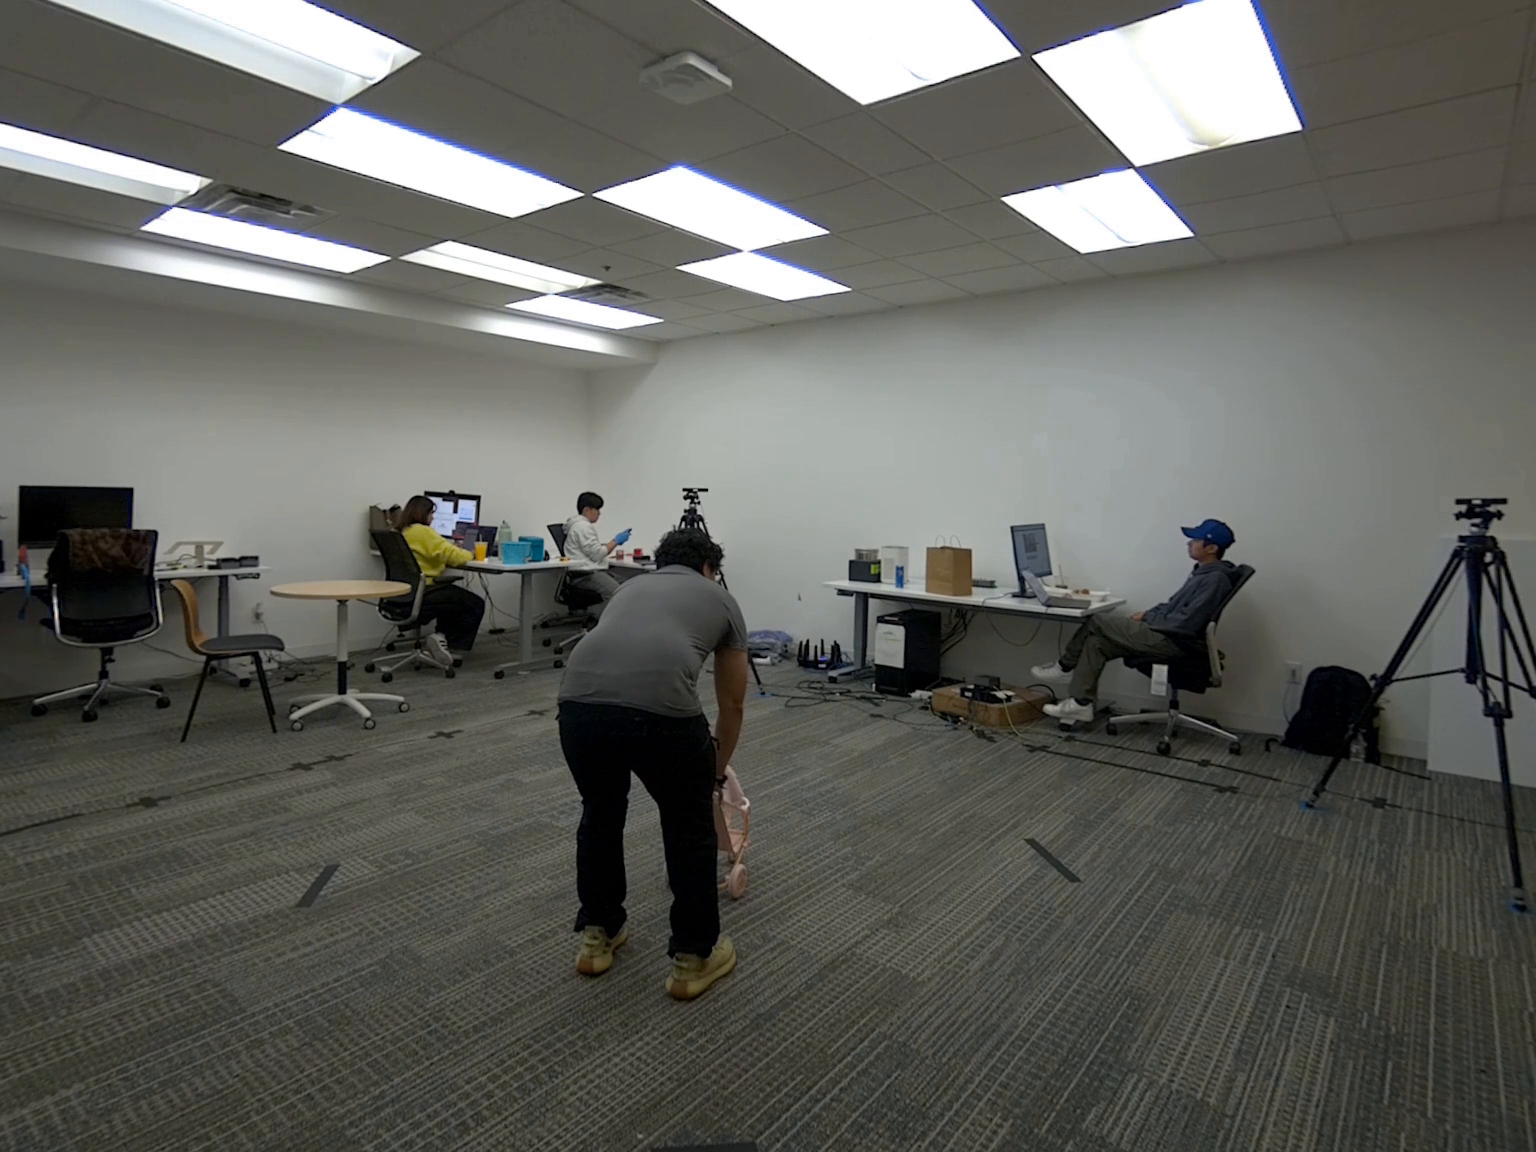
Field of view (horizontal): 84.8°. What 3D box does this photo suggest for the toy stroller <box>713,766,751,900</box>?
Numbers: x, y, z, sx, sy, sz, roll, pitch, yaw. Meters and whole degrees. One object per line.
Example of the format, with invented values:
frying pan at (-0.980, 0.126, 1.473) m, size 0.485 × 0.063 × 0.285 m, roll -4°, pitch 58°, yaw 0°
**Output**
toy stroller at (-0.199, 0.860, 2.994) m, size 0.289 × 0.524 × 0.339 m, roll 3°, pitch 22°, yaw 25°
